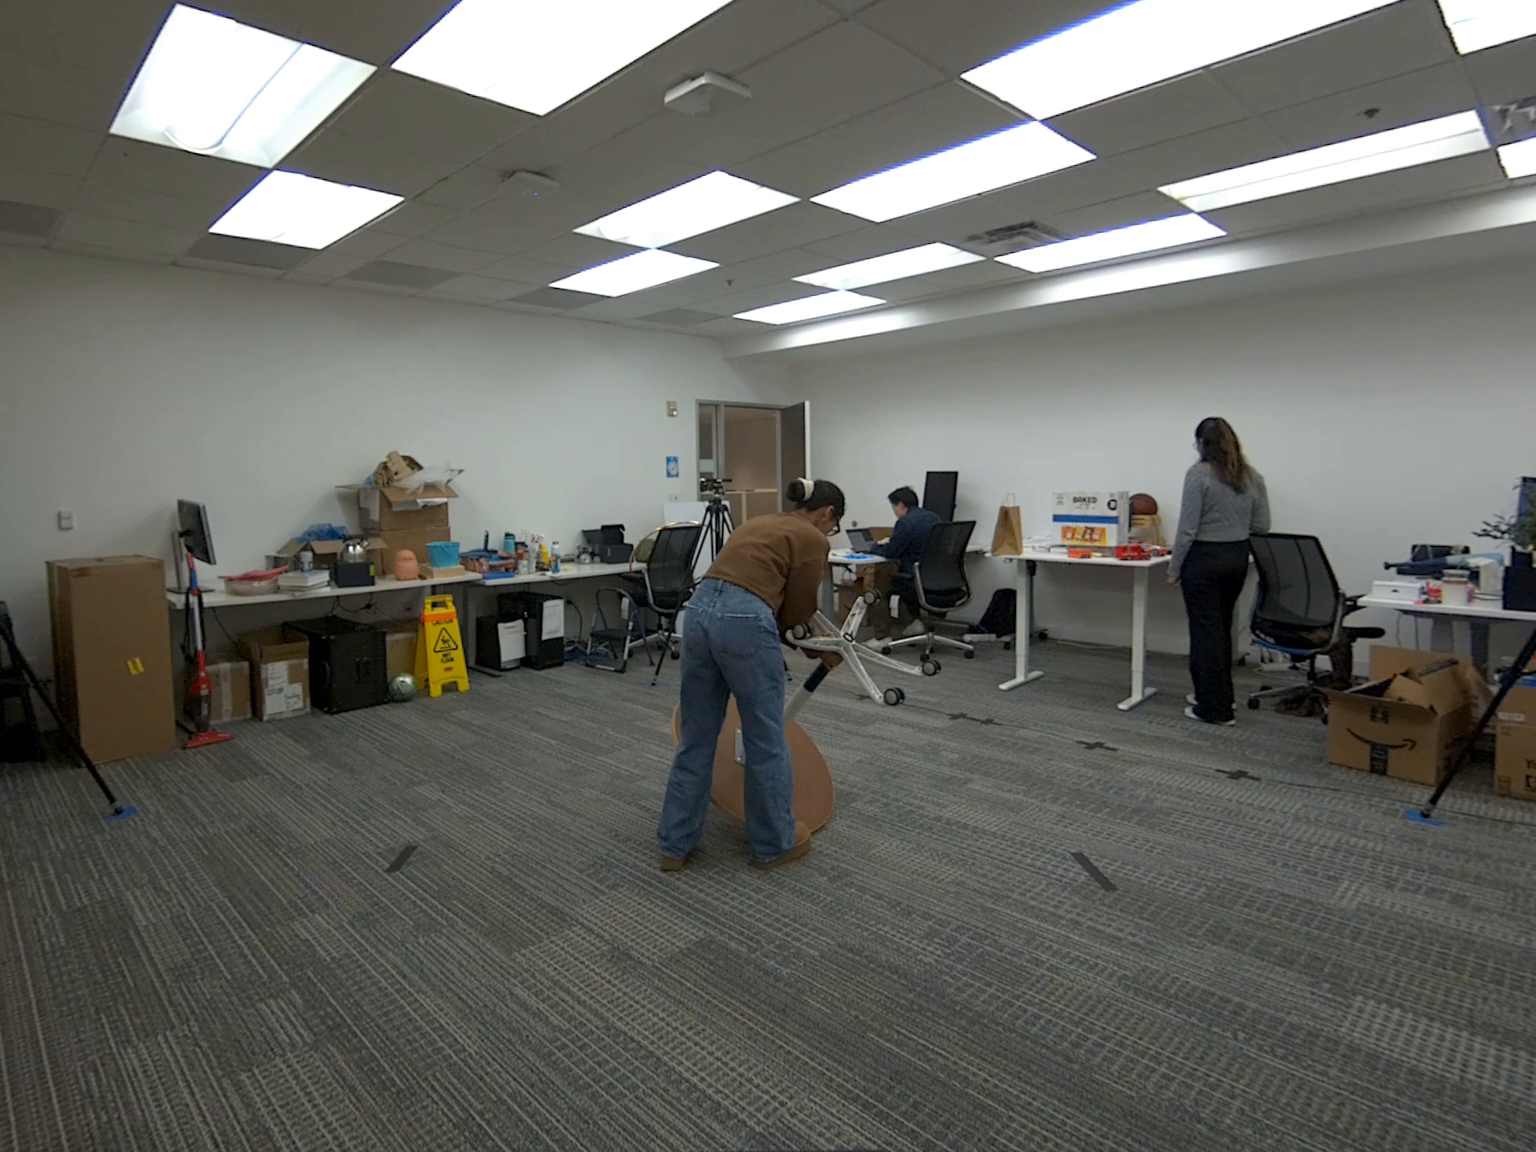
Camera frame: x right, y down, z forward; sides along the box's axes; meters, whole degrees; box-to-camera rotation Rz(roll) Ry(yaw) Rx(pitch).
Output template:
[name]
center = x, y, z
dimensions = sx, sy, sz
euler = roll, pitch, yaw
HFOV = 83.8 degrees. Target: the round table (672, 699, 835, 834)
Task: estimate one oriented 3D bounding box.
[round table]
center = 0.149, 0.464, 3.384
dimensions = 0.749, 0.790, 0.783
euler = 26, 27, -16
